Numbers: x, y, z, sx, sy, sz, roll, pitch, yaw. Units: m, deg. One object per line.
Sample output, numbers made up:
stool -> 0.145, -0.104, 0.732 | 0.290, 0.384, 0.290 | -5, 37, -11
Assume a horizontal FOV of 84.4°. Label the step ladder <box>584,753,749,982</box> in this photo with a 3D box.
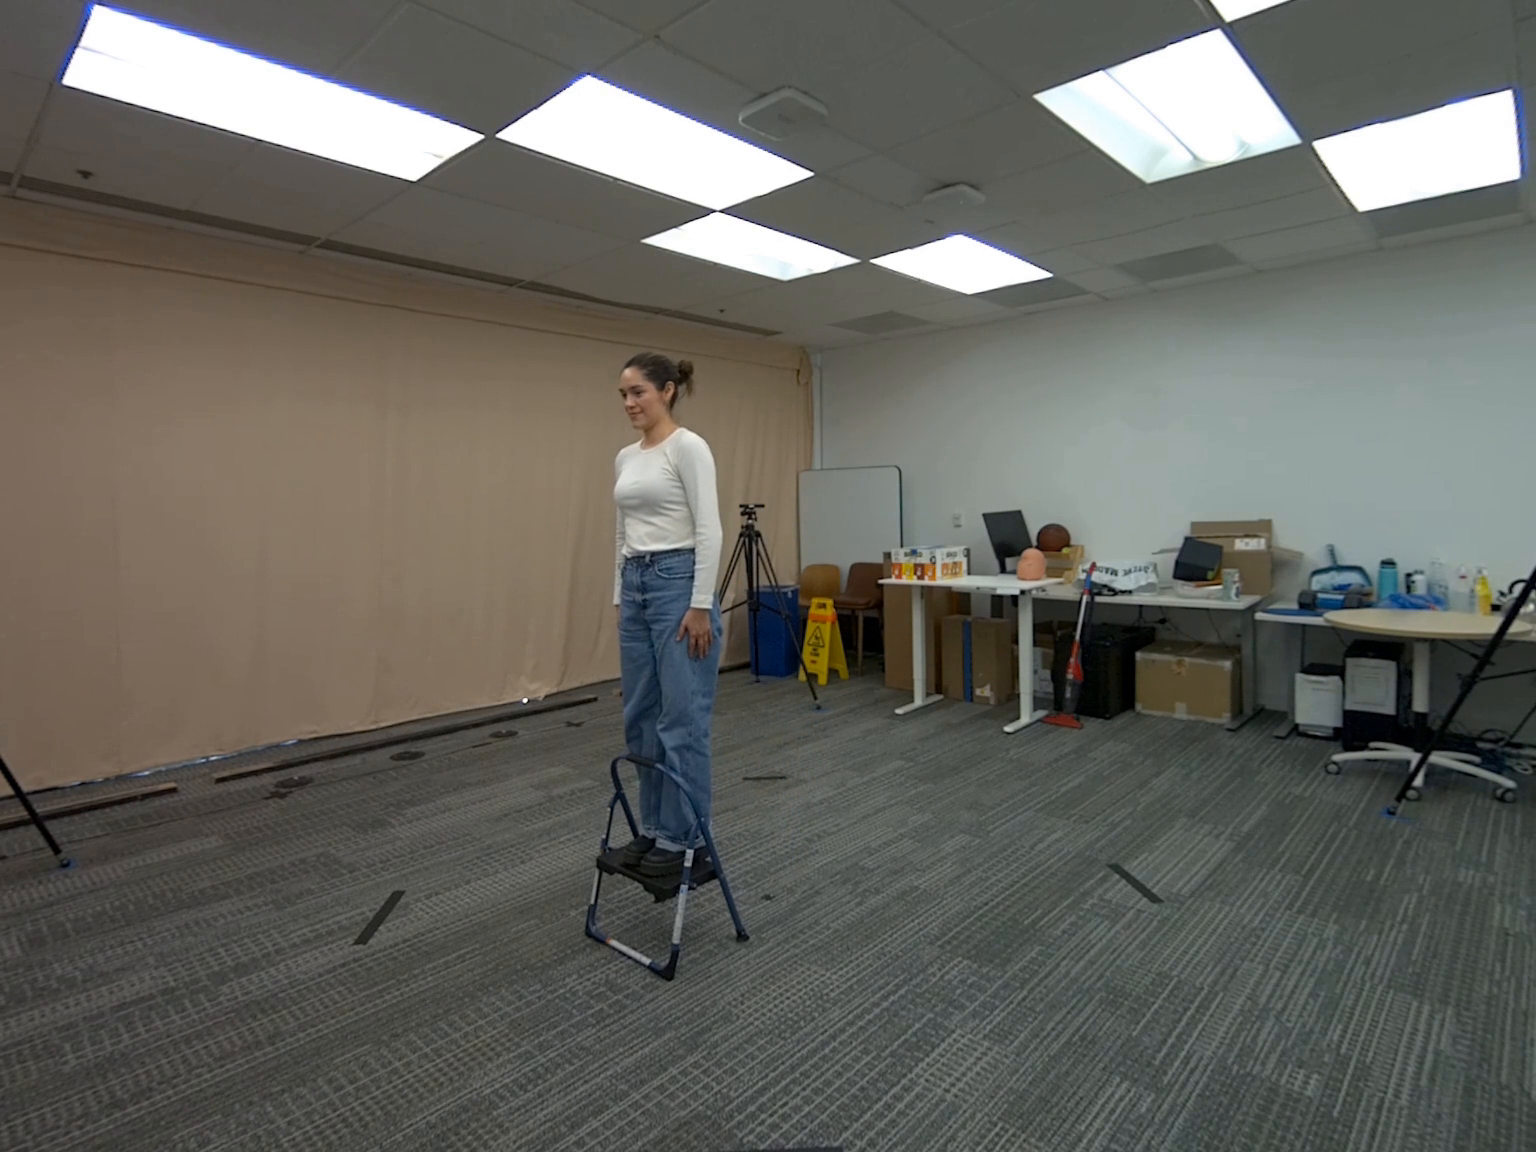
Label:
step ladder -> -0.337, 0.866, 2.714 | 0.445, 0.605, 0.339 | 2, 4, 42
